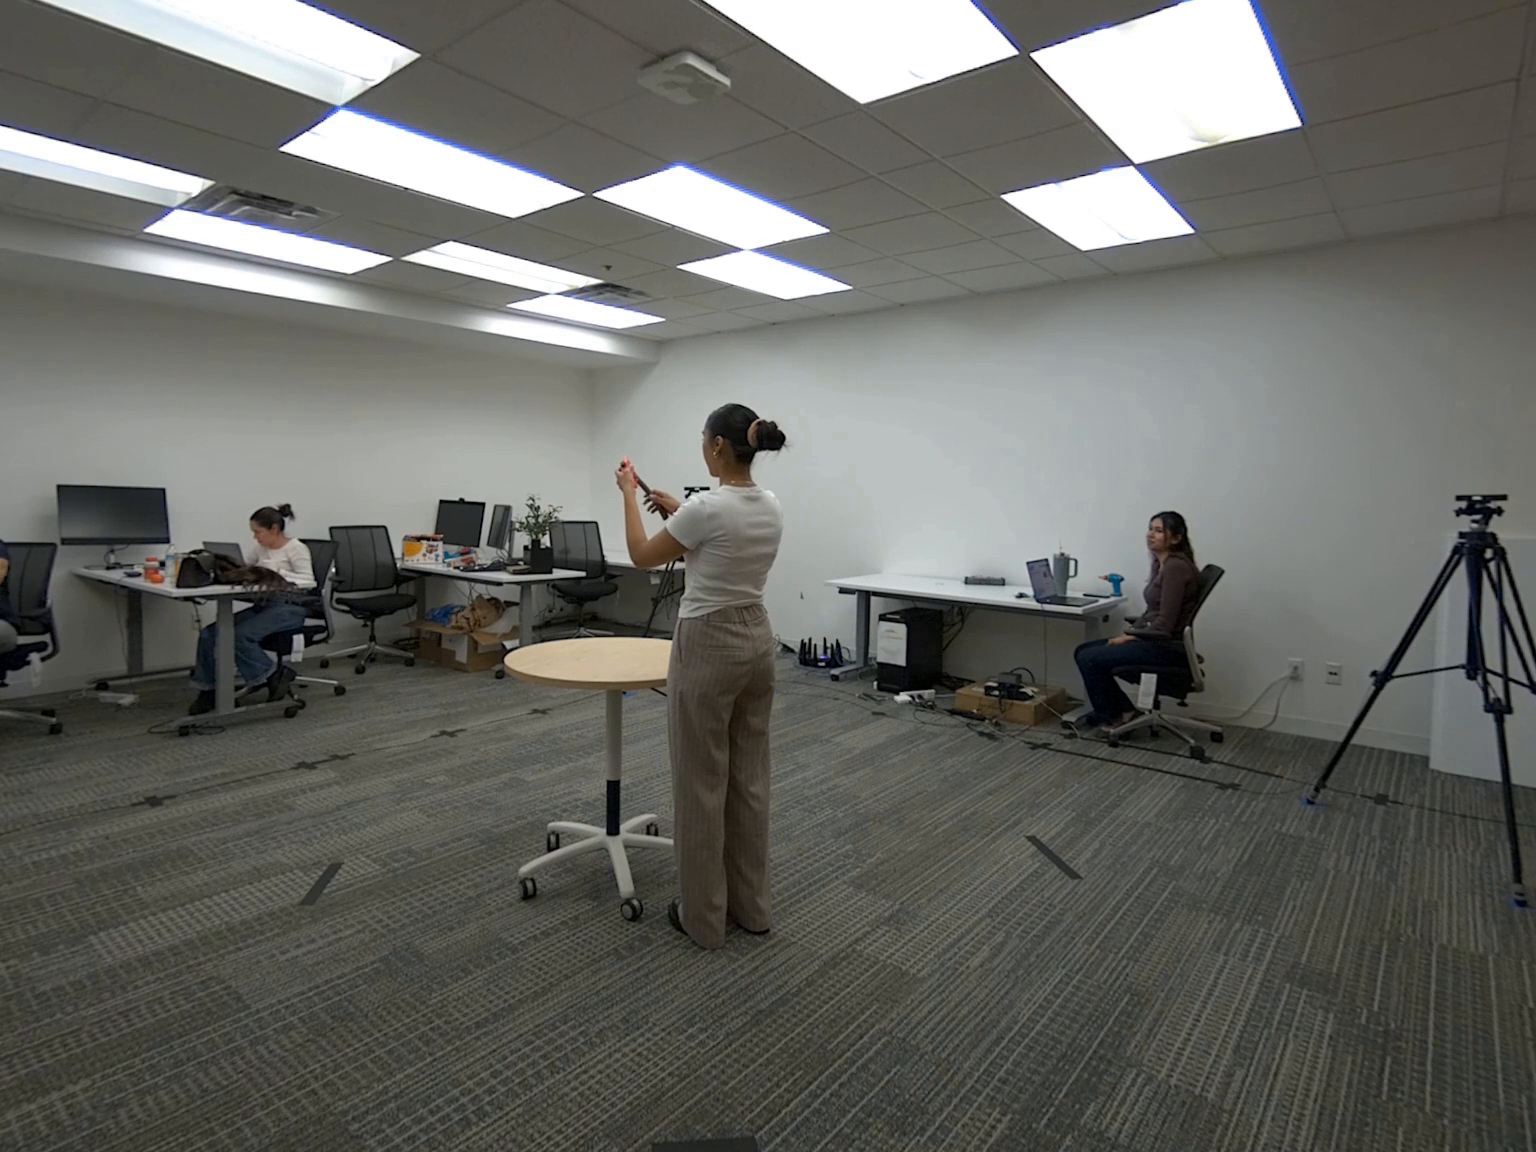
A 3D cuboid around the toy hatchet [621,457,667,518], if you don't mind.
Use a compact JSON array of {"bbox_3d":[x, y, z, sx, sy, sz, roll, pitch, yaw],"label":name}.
[{"bbox_3d":[-0.426,-0.282,2.876,0.030,0.263,0.133,-27,20,21],"label":"toy hatchet"}]
